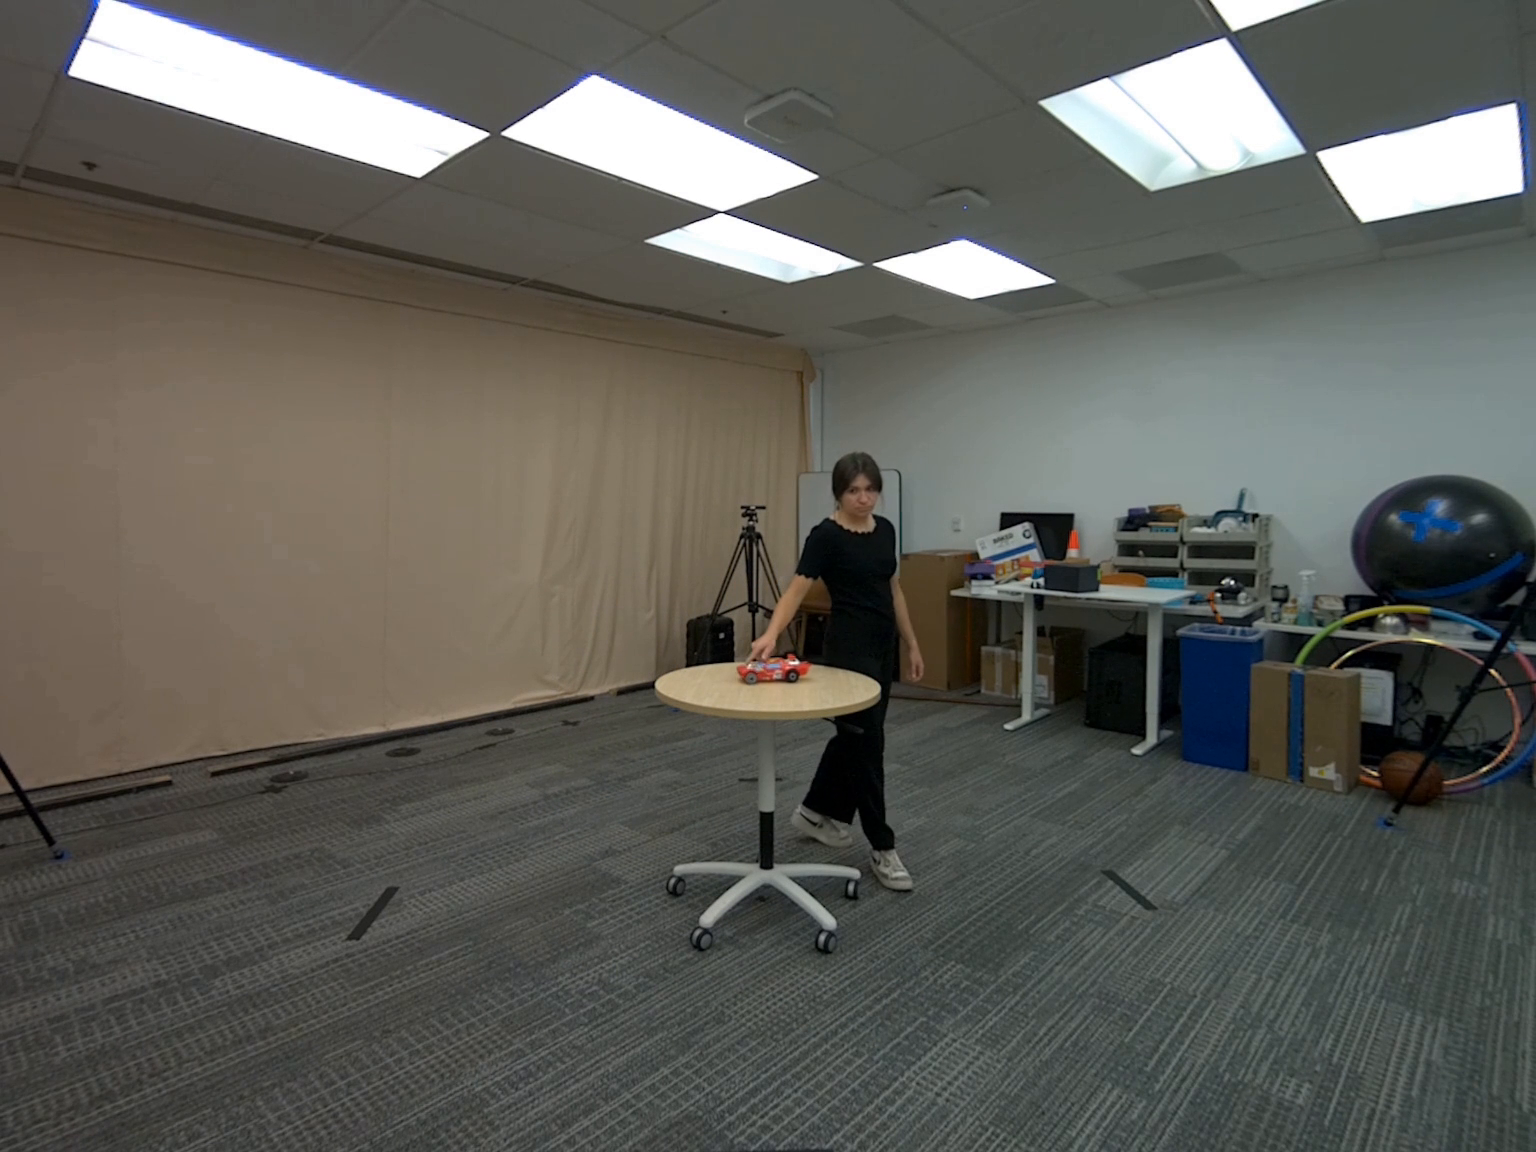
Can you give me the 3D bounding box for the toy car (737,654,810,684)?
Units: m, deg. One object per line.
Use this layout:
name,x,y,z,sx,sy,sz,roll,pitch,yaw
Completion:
toy car,0.026,0.330,2.930,0.252,0.083,0.132,-13,7,-9
